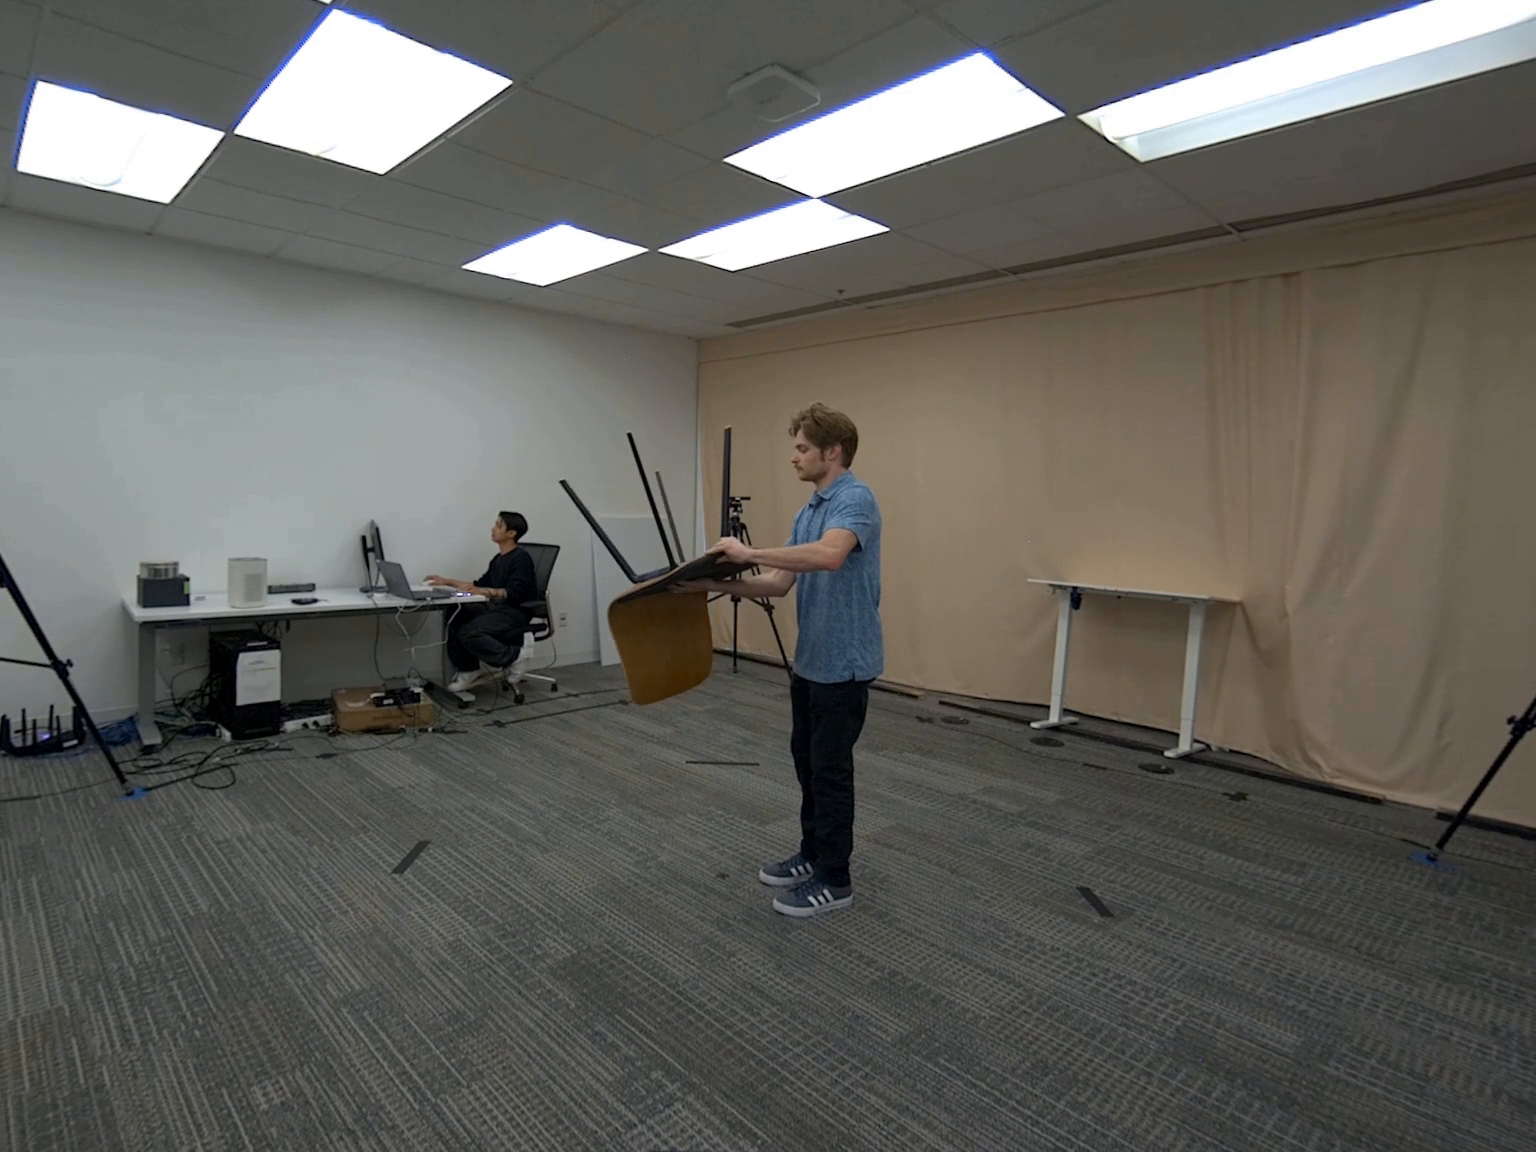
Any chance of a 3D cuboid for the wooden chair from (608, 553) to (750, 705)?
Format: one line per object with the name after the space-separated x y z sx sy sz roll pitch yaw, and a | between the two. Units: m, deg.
-0.307 -0.019 2.901 0.469 0.881 0.531 -10 -5 -44 | wooden chair
